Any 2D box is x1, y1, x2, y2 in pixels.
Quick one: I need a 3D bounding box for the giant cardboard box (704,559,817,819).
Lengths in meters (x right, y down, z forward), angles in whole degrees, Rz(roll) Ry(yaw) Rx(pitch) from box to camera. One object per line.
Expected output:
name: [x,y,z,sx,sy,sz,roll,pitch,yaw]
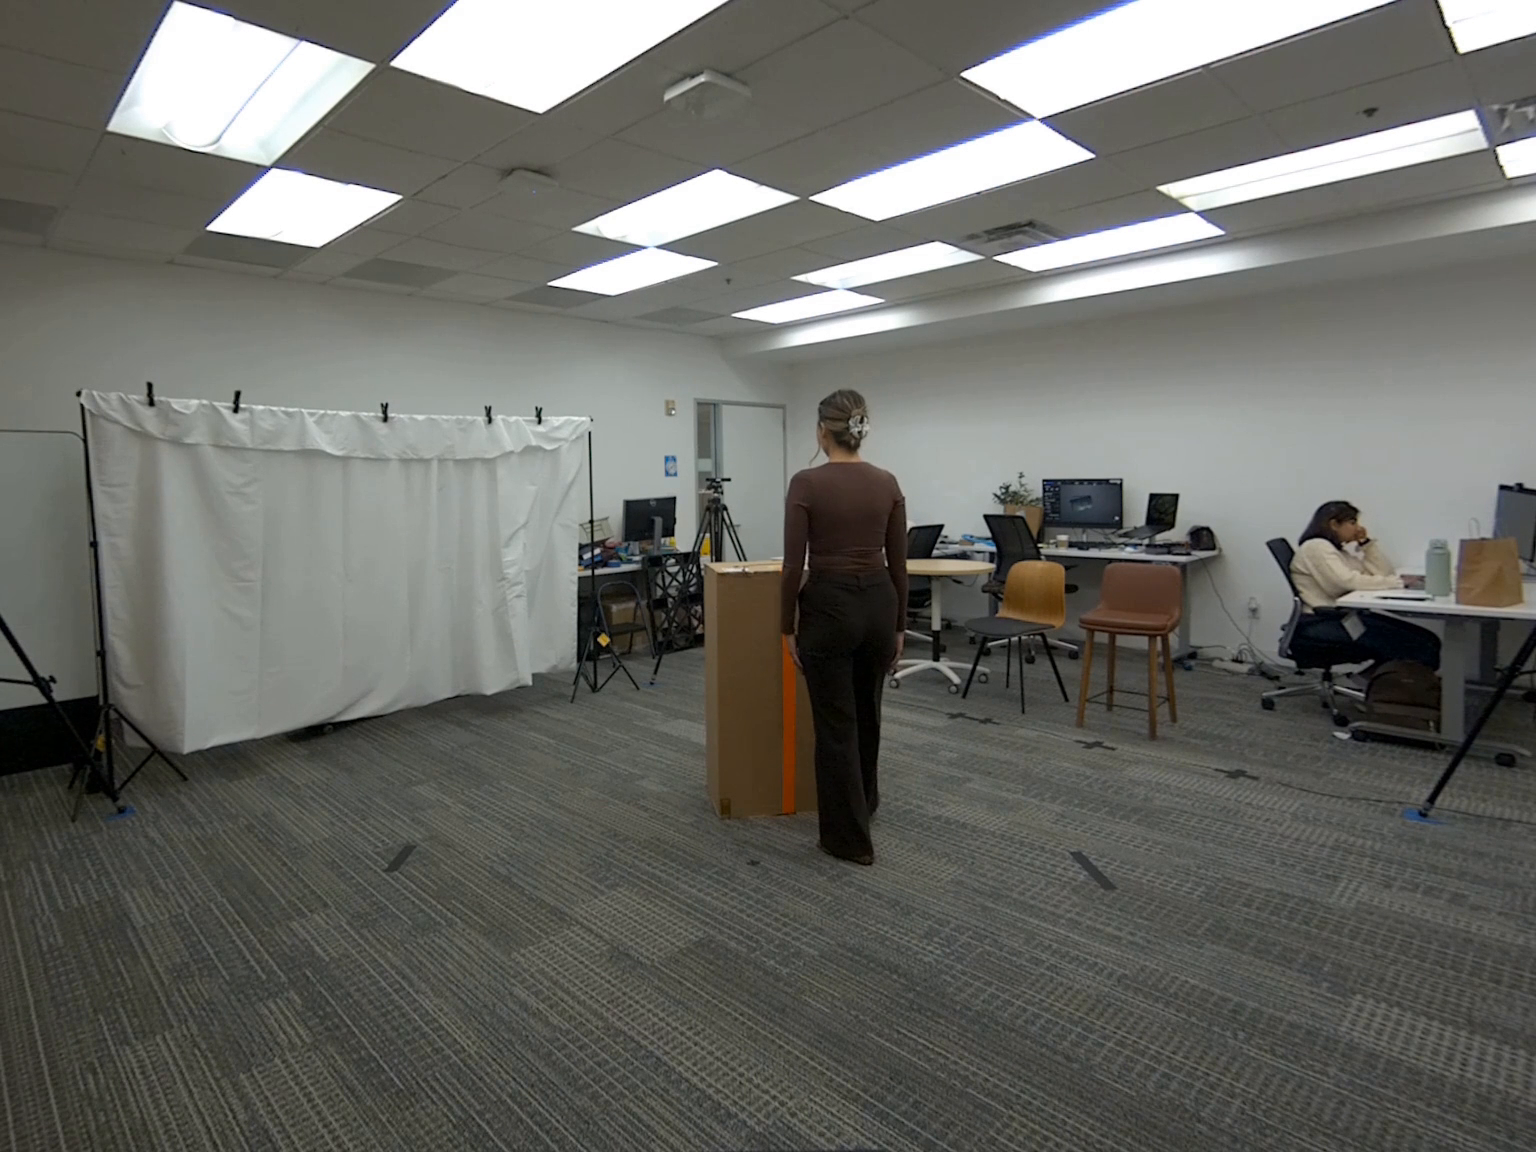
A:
giant cardboard box: [0.033,0.454,3.729,0.579,1.024,0.452,-1,4,-9]
